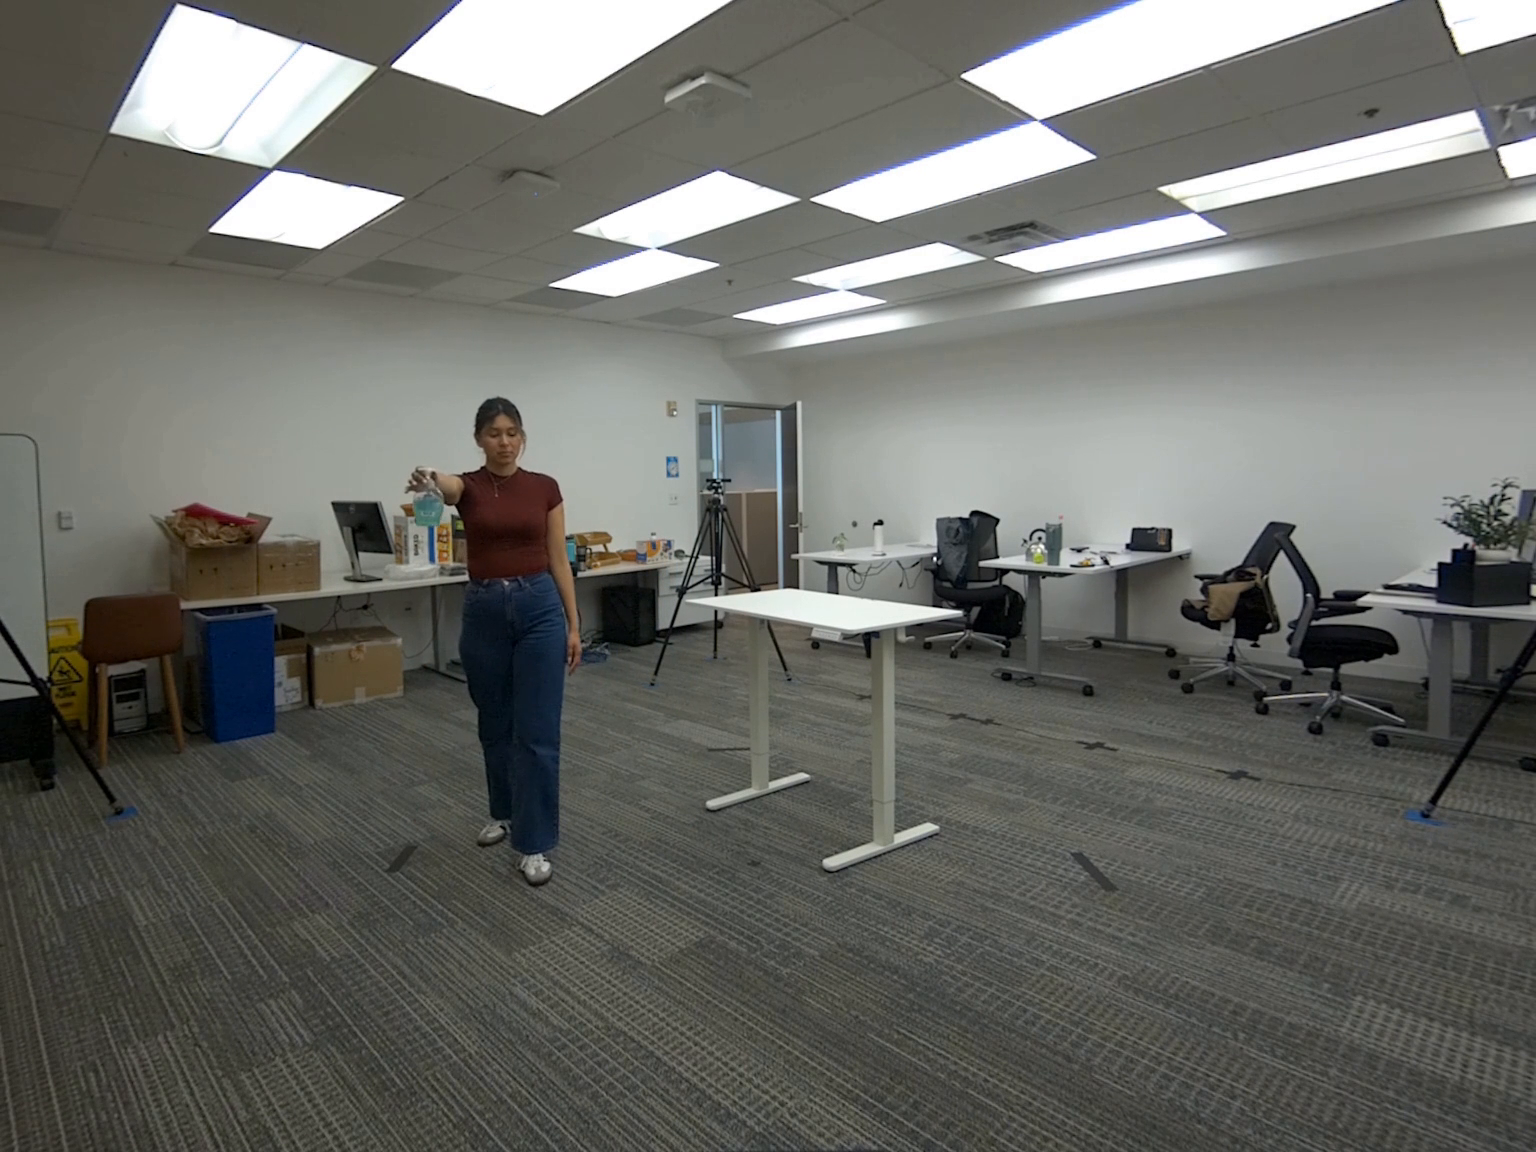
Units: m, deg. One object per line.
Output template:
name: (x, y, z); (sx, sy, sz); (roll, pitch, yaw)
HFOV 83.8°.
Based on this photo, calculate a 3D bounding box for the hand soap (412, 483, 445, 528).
hand soap: (-0.982, -0.223, 2.453); (0.083, 0.168, 0.044); (2, 3, -24)
